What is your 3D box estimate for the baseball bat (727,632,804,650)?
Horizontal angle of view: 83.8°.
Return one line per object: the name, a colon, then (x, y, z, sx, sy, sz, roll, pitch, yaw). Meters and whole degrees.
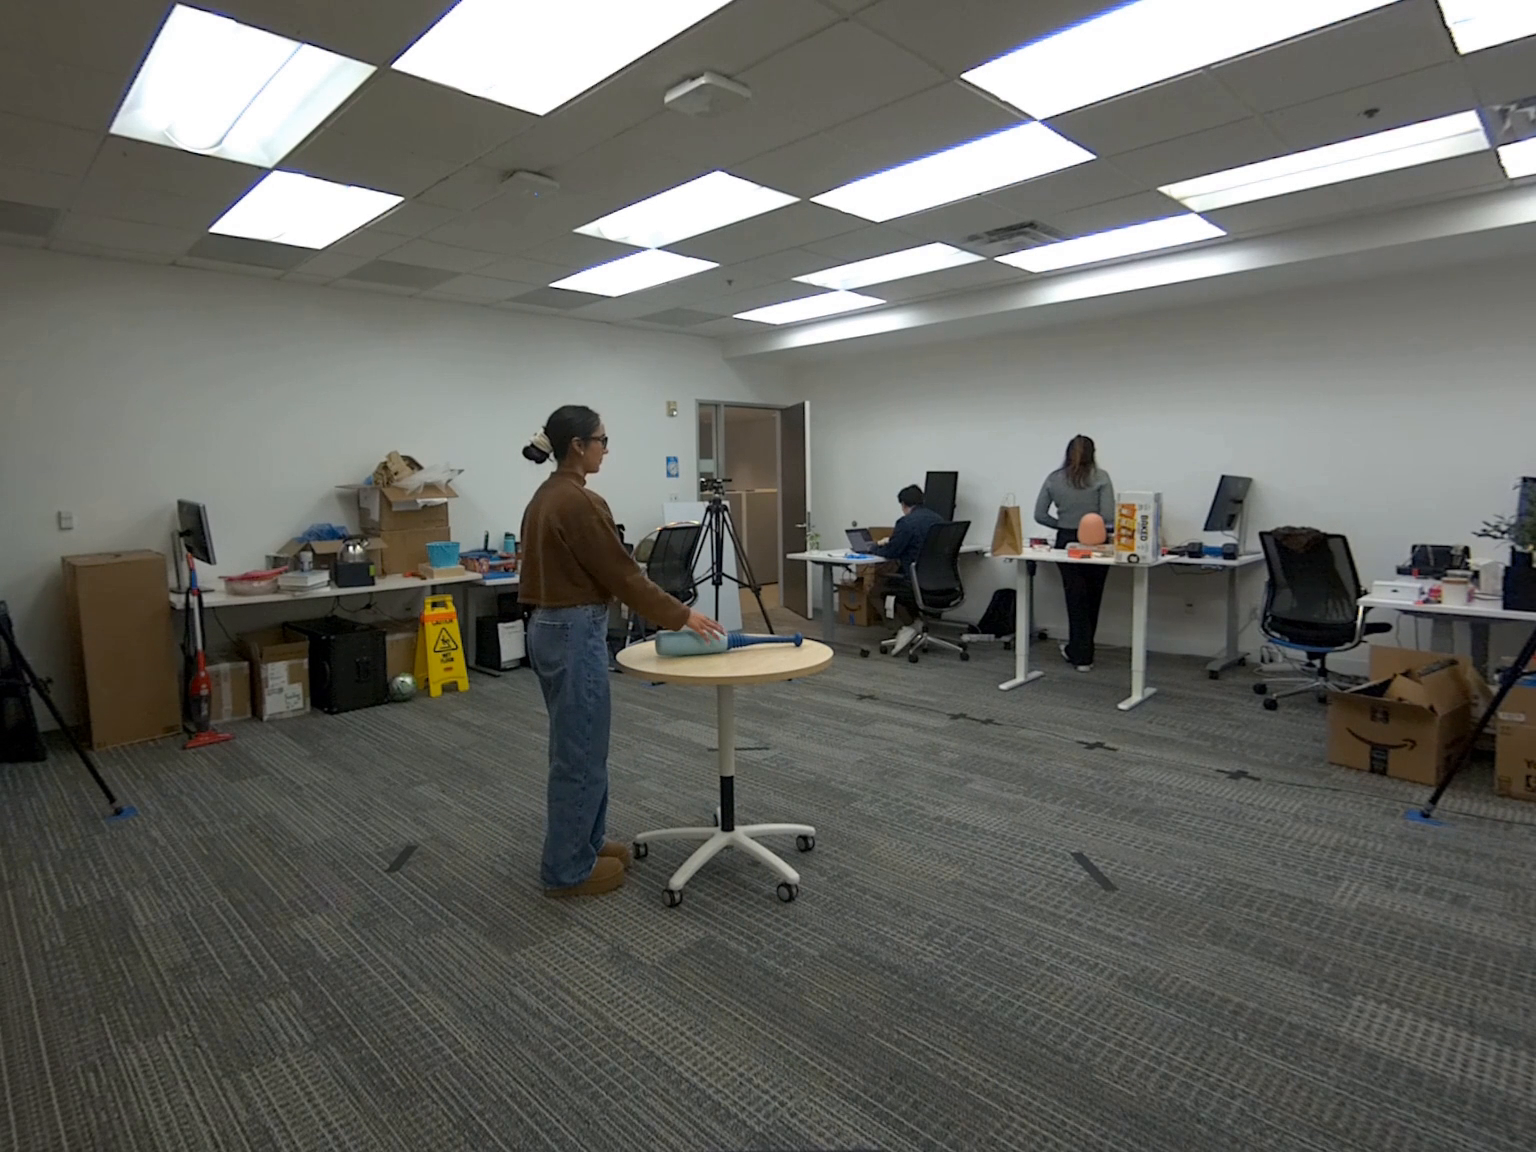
baseball bat: (-0.134, 0.233, 3.045, 0.535, 0.089, 0.091, 0, 4, -16)
